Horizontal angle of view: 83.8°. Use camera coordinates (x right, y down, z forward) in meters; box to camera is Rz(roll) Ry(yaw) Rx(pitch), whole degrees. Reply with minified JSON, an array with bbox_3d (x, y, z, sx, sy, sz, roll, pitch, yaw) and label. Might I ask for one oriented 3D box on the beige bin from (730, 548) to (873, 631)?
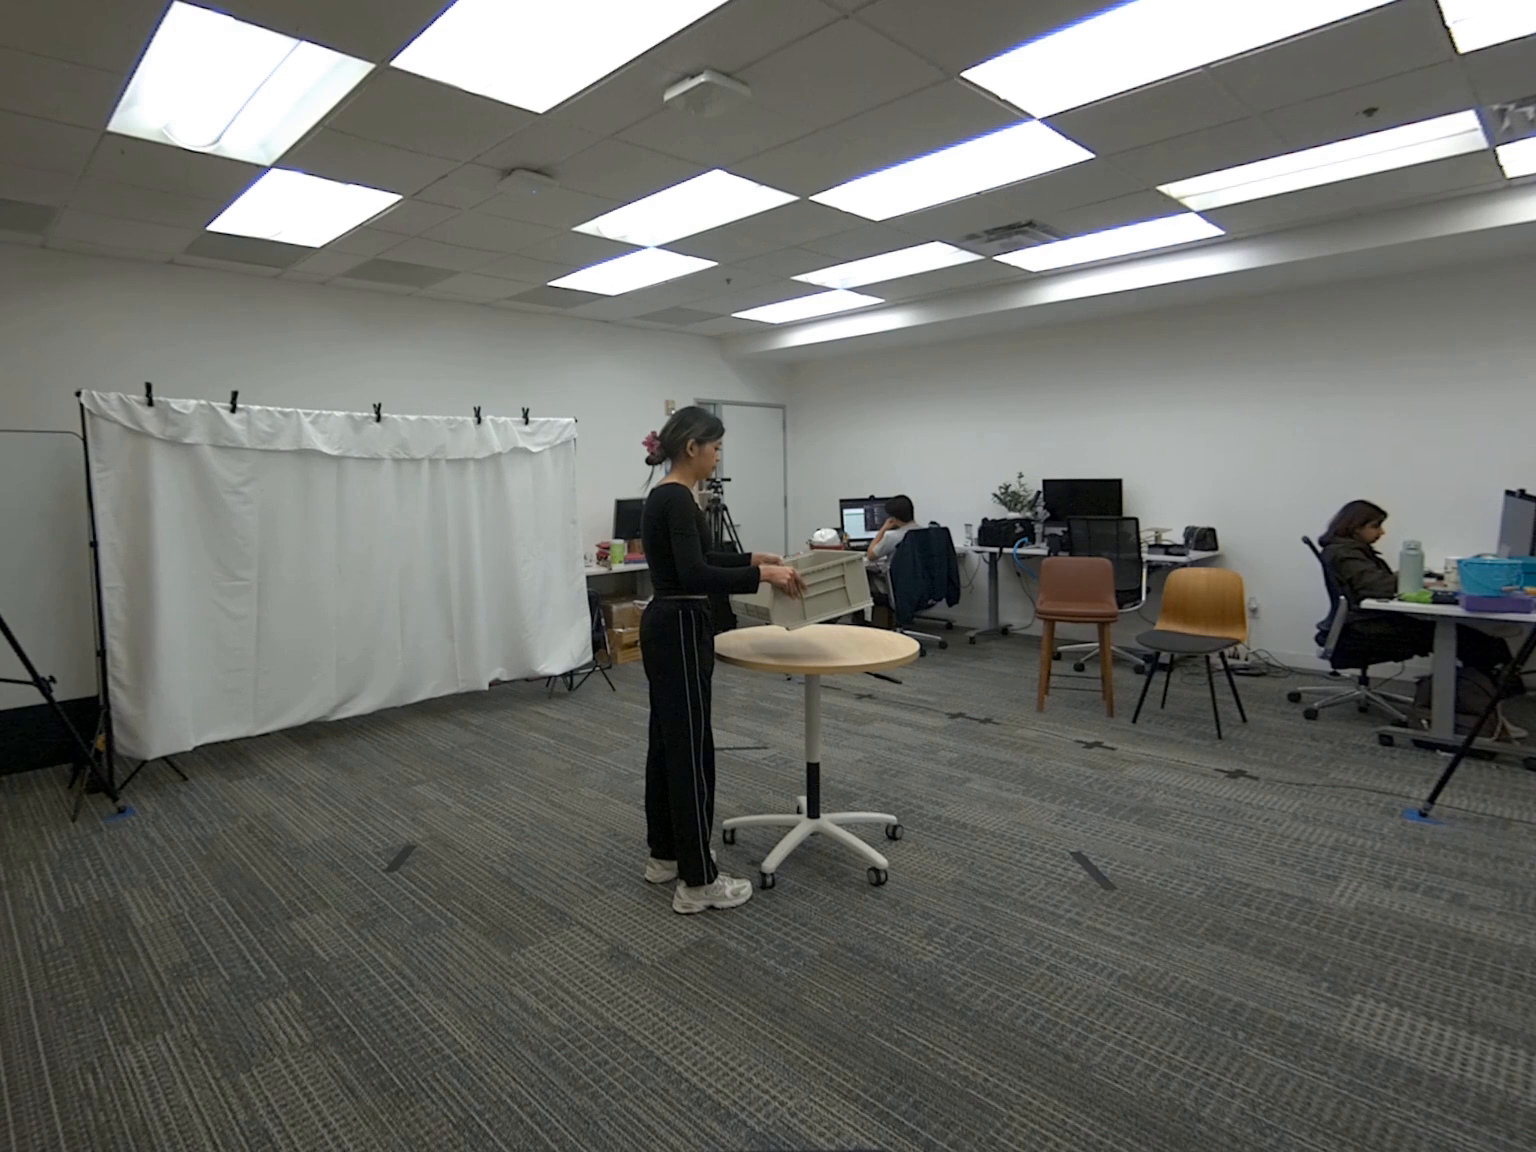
[{"bbox_3d":[0.102,0.052,2.975,0.373,0.188,0.429,-15,6,-17],"label":"beige bin"}]
